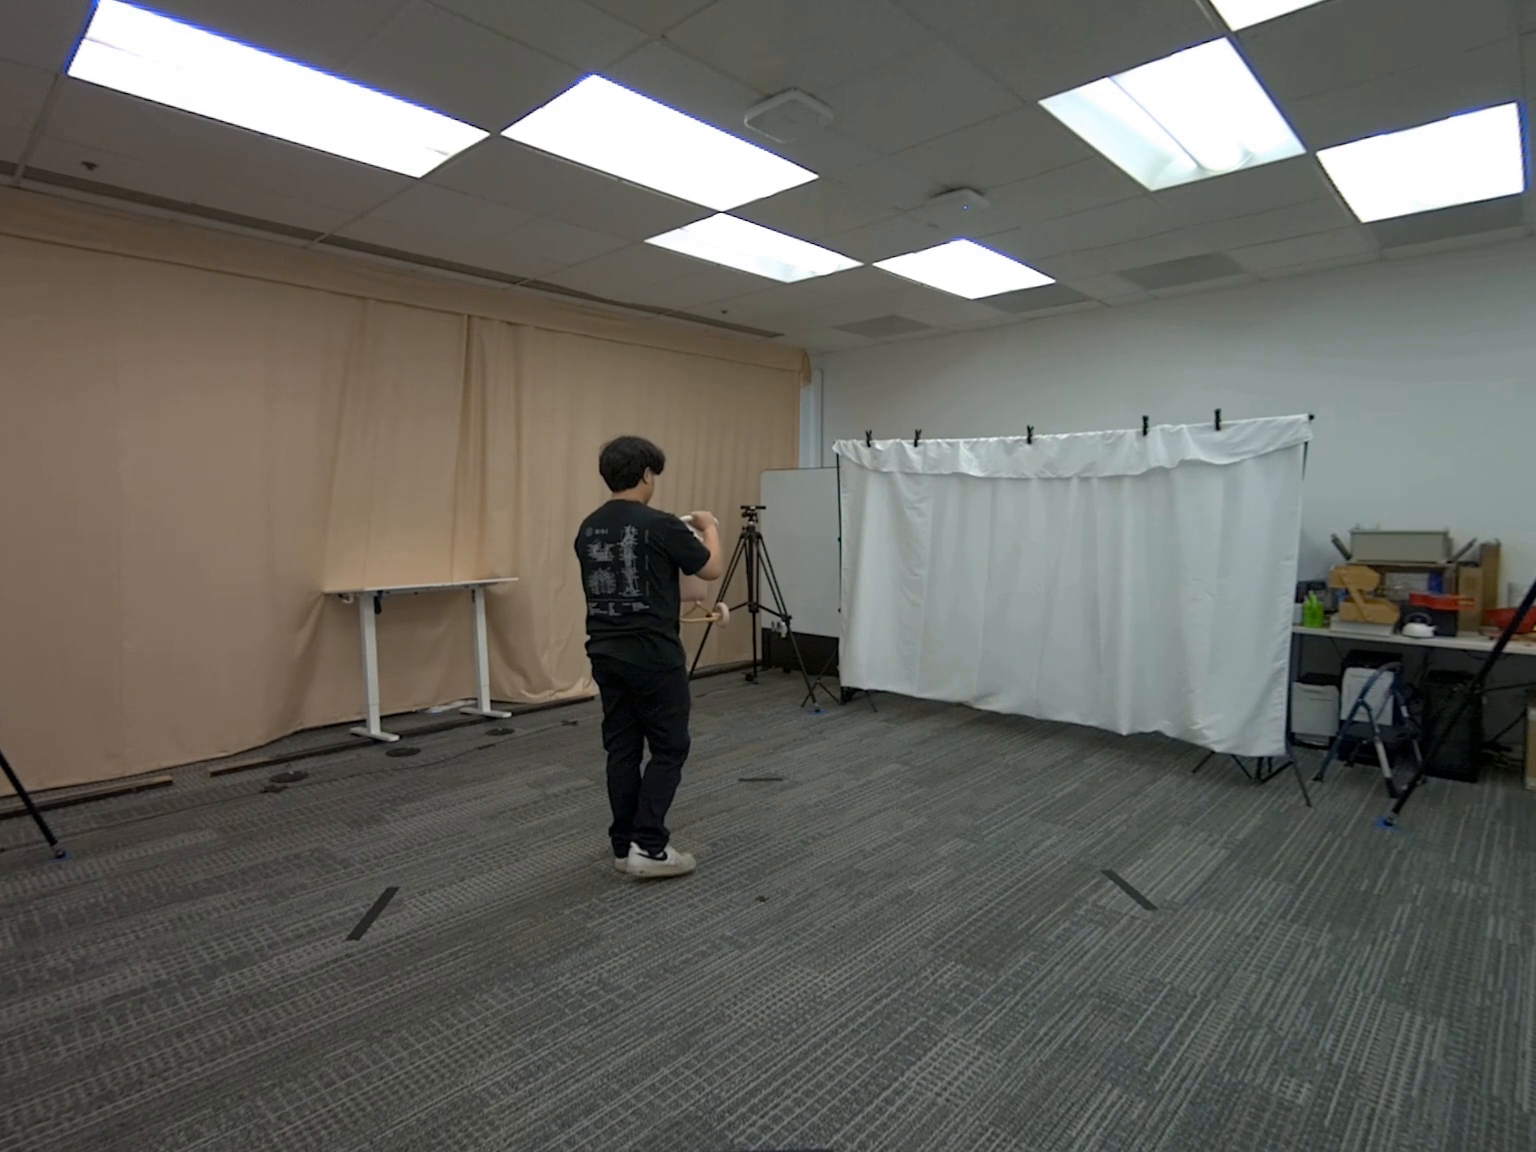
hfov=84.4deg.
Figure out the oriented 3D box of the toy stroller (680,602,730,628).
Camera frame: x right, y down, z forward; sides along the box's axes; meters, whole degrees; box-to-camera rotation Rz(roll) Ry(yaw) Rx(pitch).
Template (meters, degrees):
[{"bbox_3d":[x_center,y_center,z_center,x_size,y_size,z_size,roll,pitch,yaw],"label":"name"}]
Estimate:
[{"bbox_3d":[-0.361,0.013,3.640,0.274,0.534,0.350,-2,2,-28],"label":"toy stroller"}]
